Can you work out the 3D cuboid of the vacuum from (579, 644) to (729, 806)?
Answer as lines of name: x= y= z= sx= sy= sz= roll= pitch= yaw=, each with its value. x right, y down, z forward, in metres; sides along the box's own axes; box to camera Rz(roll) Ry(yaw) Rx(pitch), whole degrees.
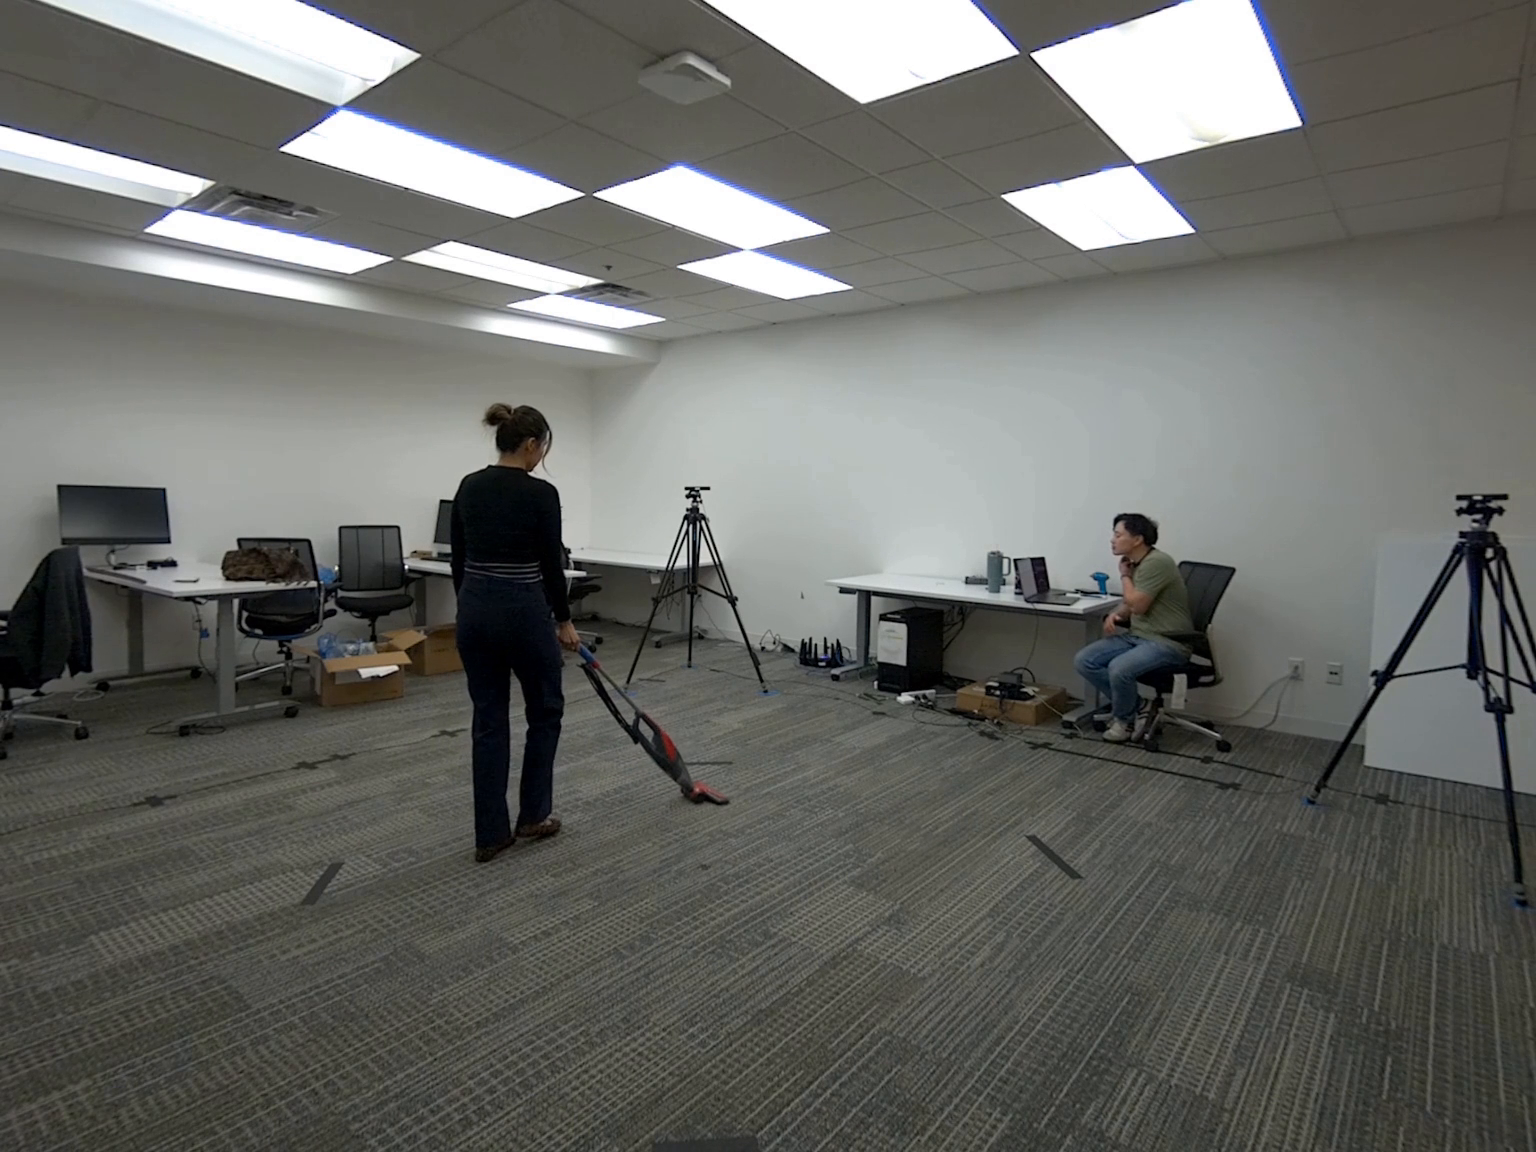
vacuum: x=-0.571 y=0.626 z=3.613 sx=0.260 sy=1.016 sz=0.144 roll=-4 pitch=42 yaw=51
